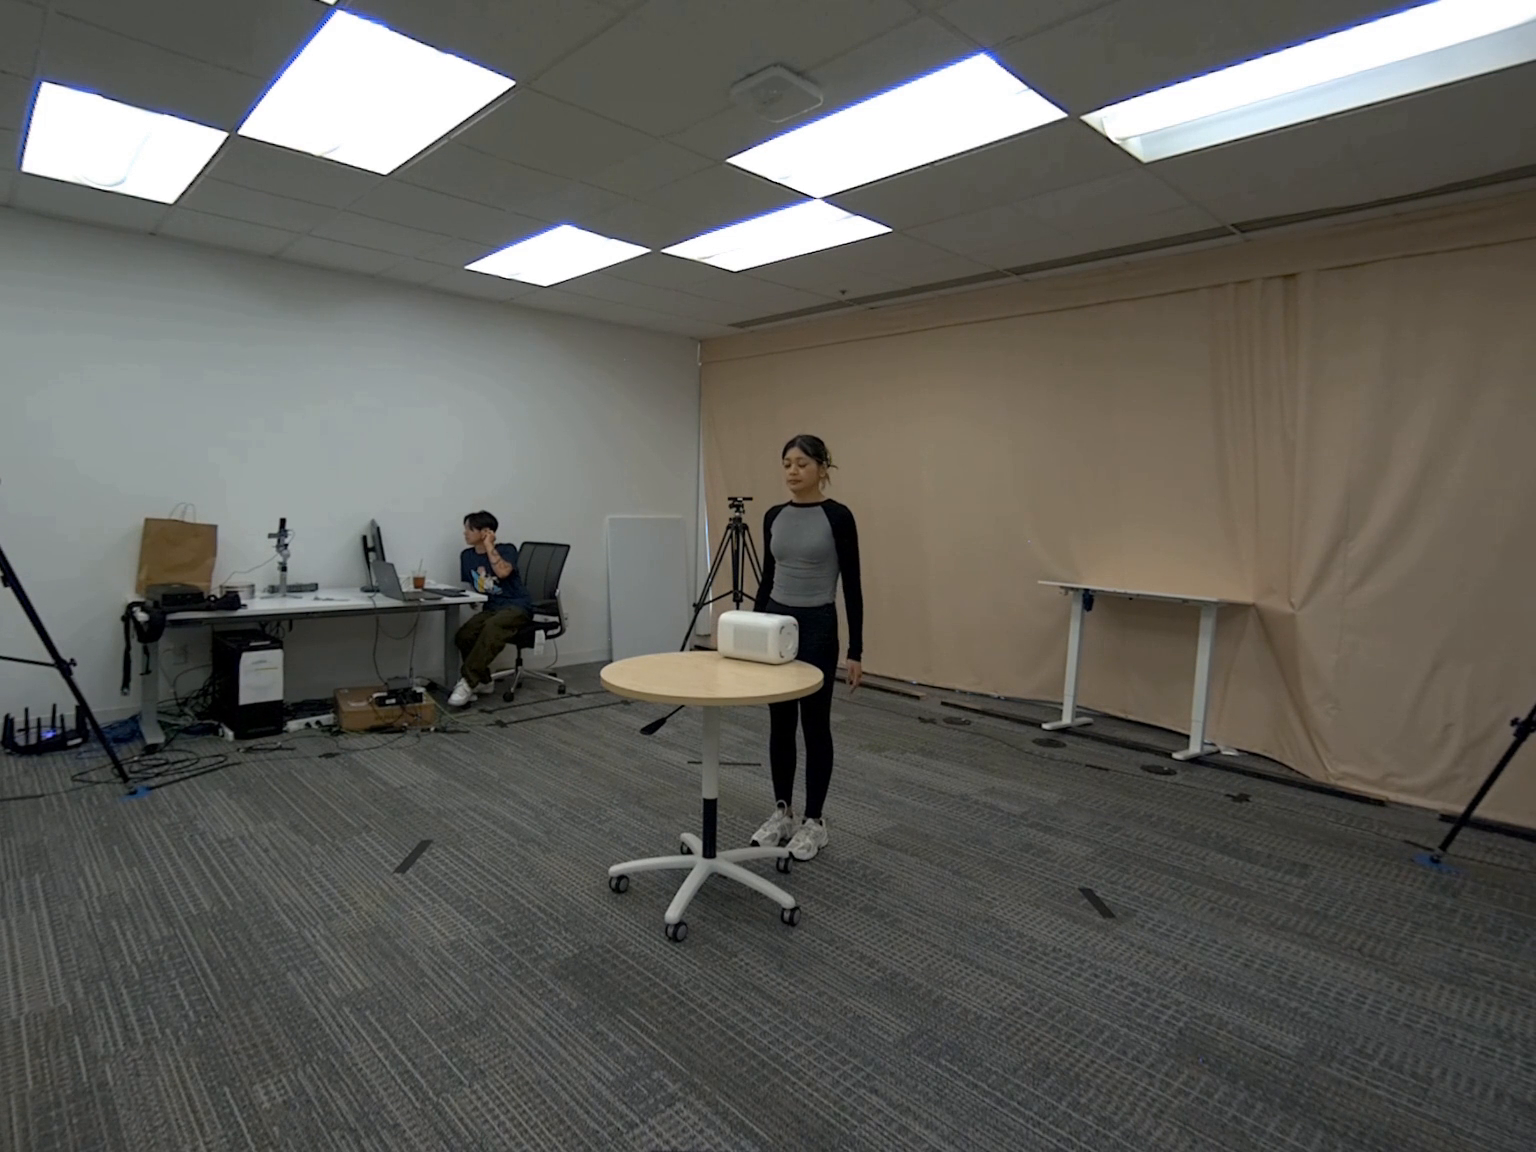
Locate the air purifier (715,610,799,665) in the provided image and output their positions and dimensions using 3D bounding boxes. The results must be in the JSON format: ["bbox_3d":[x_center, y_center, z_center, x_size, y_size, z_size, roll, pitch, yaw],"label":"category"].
[{"bbox_3d":[-0.041,0.224,3.124,0.272,0.171,0.167,4,4,35],"label":"air purifier"}]
